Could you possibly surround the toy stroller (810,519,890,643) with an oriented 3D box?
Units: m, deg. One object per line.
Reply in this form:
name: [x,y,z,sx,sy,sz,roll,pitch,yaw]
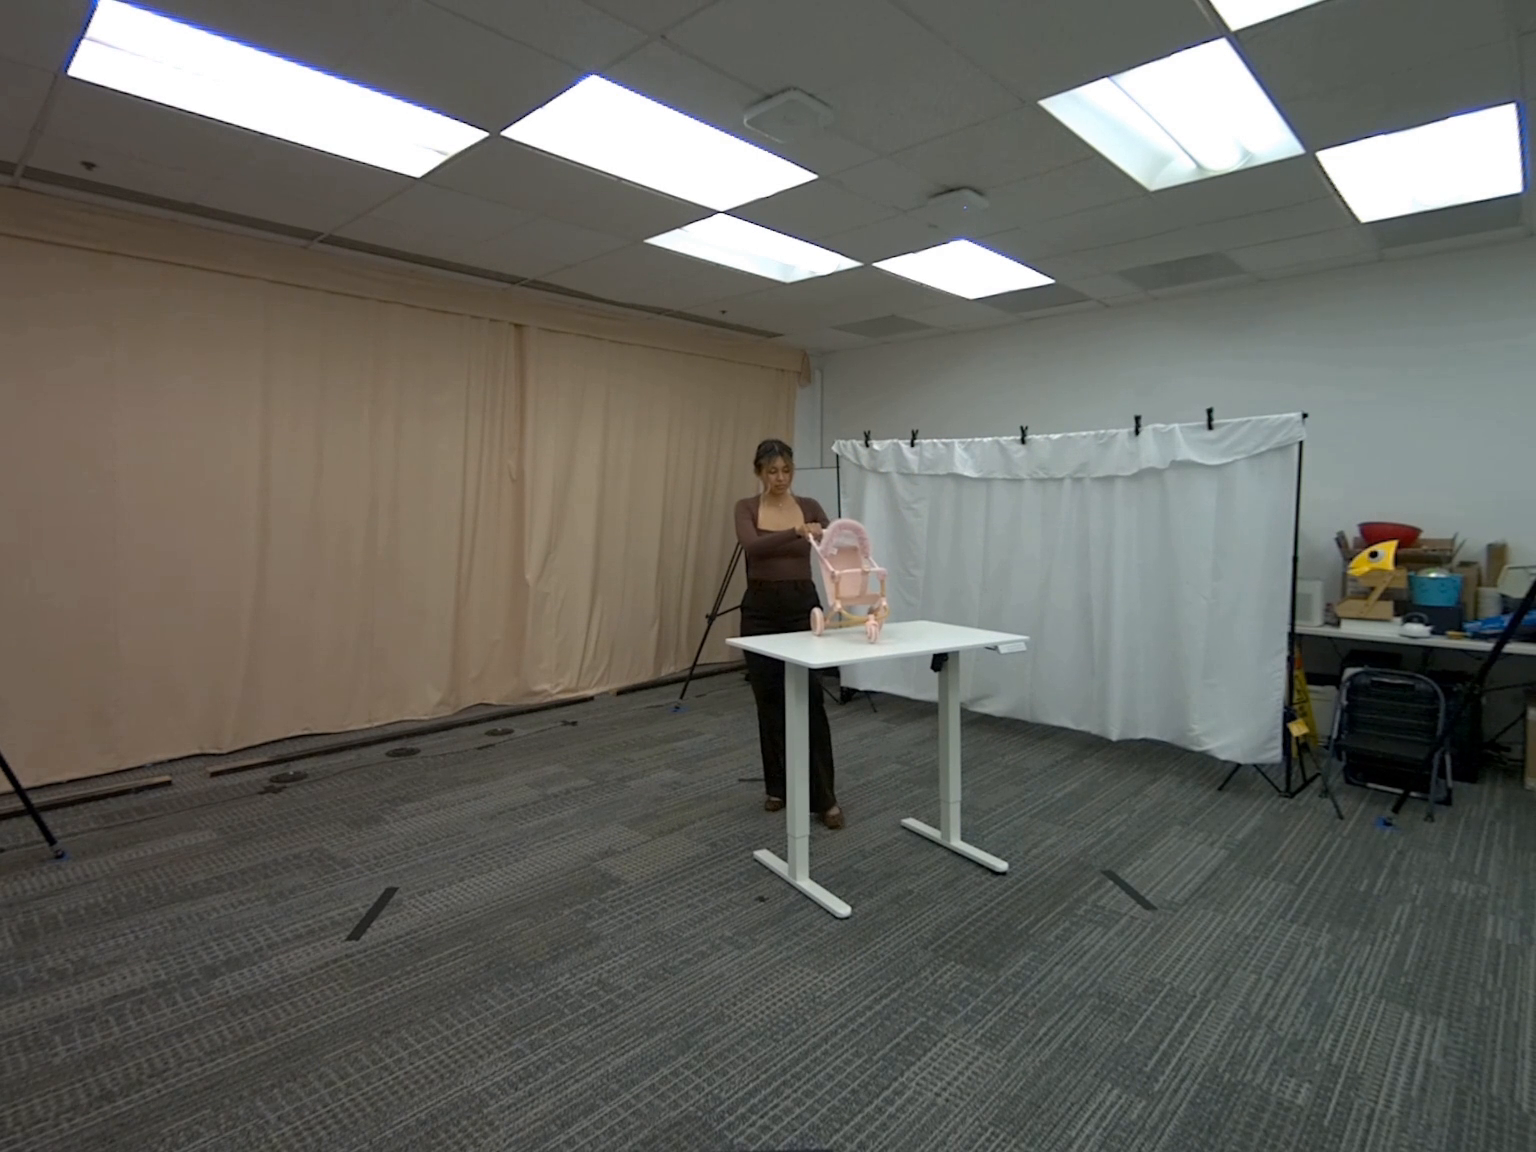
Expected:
toy stroller: [0.318,0.013,3.290,0.278,0.540,0.342,-4,-13,-13]
